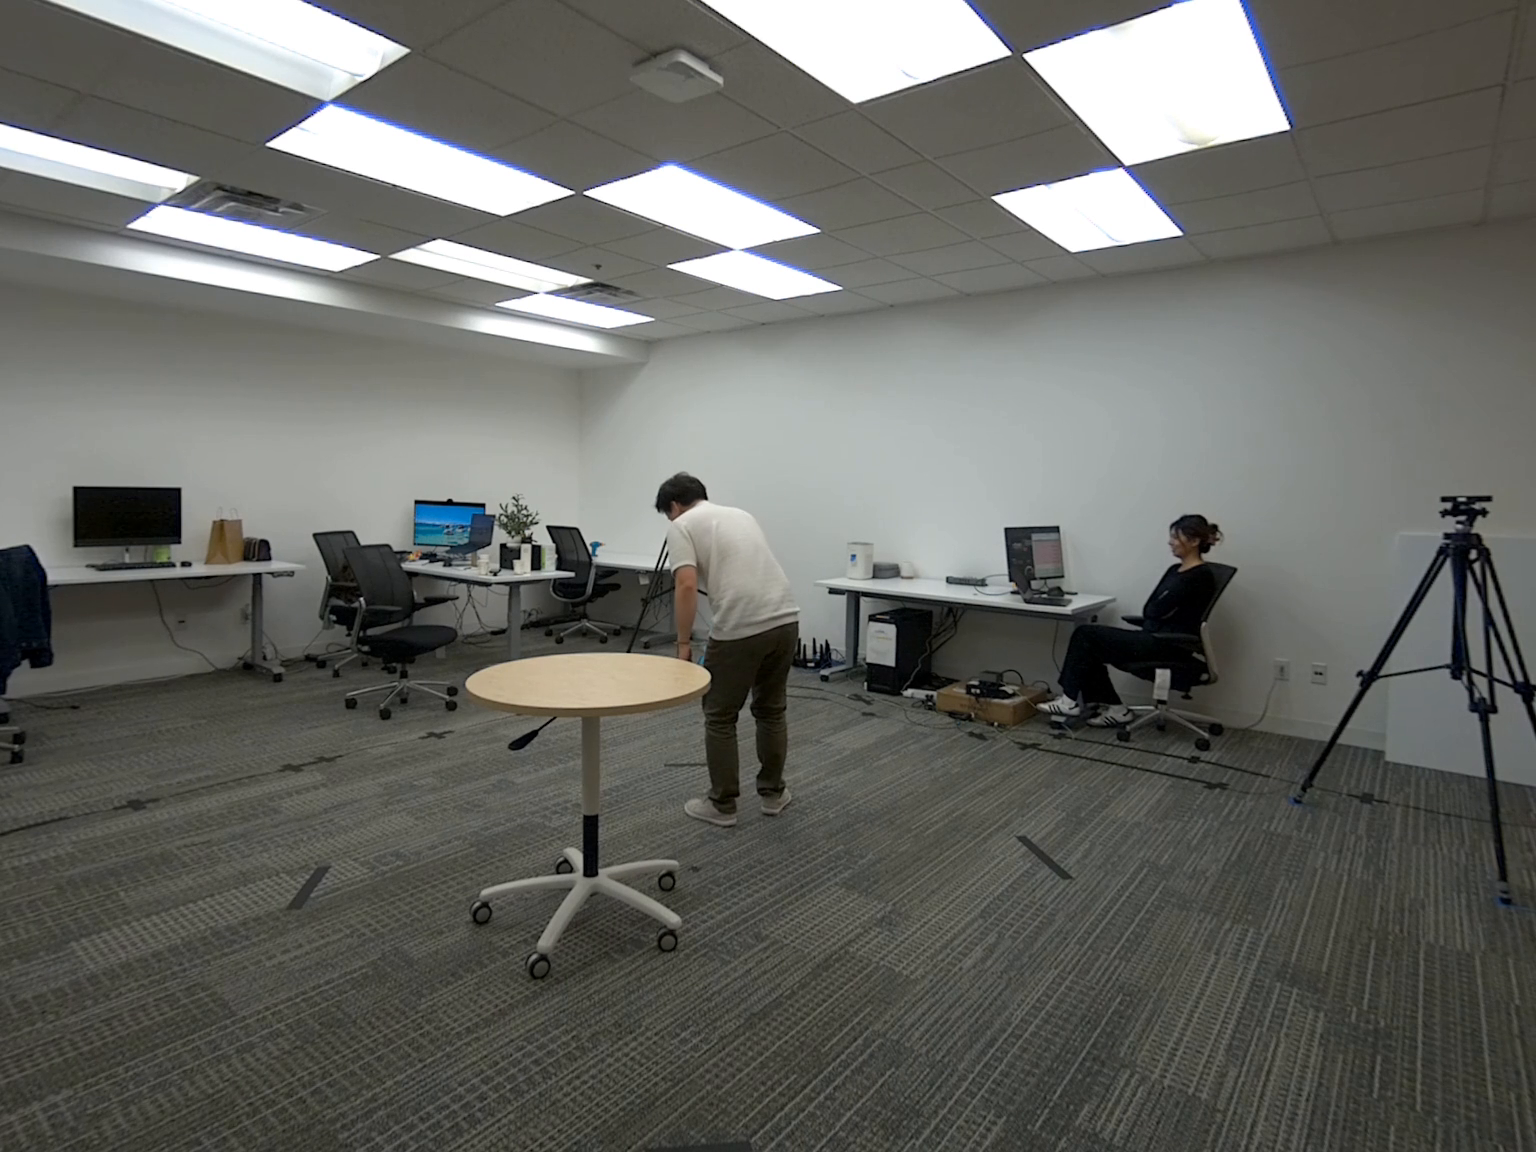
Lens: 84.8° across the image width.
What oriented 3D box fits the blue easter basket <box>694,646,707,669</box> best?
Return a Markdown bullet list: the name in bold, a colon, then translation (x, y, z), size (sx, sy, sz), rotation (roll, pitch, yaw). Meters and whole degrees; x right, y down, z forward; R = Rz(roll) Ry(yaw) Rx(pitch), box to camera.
- **blue easter basket**: translation (-0.198, 0.417, 3.867), size (0.238, 0.240, 0.162), rotation (-1, 23, -25)
